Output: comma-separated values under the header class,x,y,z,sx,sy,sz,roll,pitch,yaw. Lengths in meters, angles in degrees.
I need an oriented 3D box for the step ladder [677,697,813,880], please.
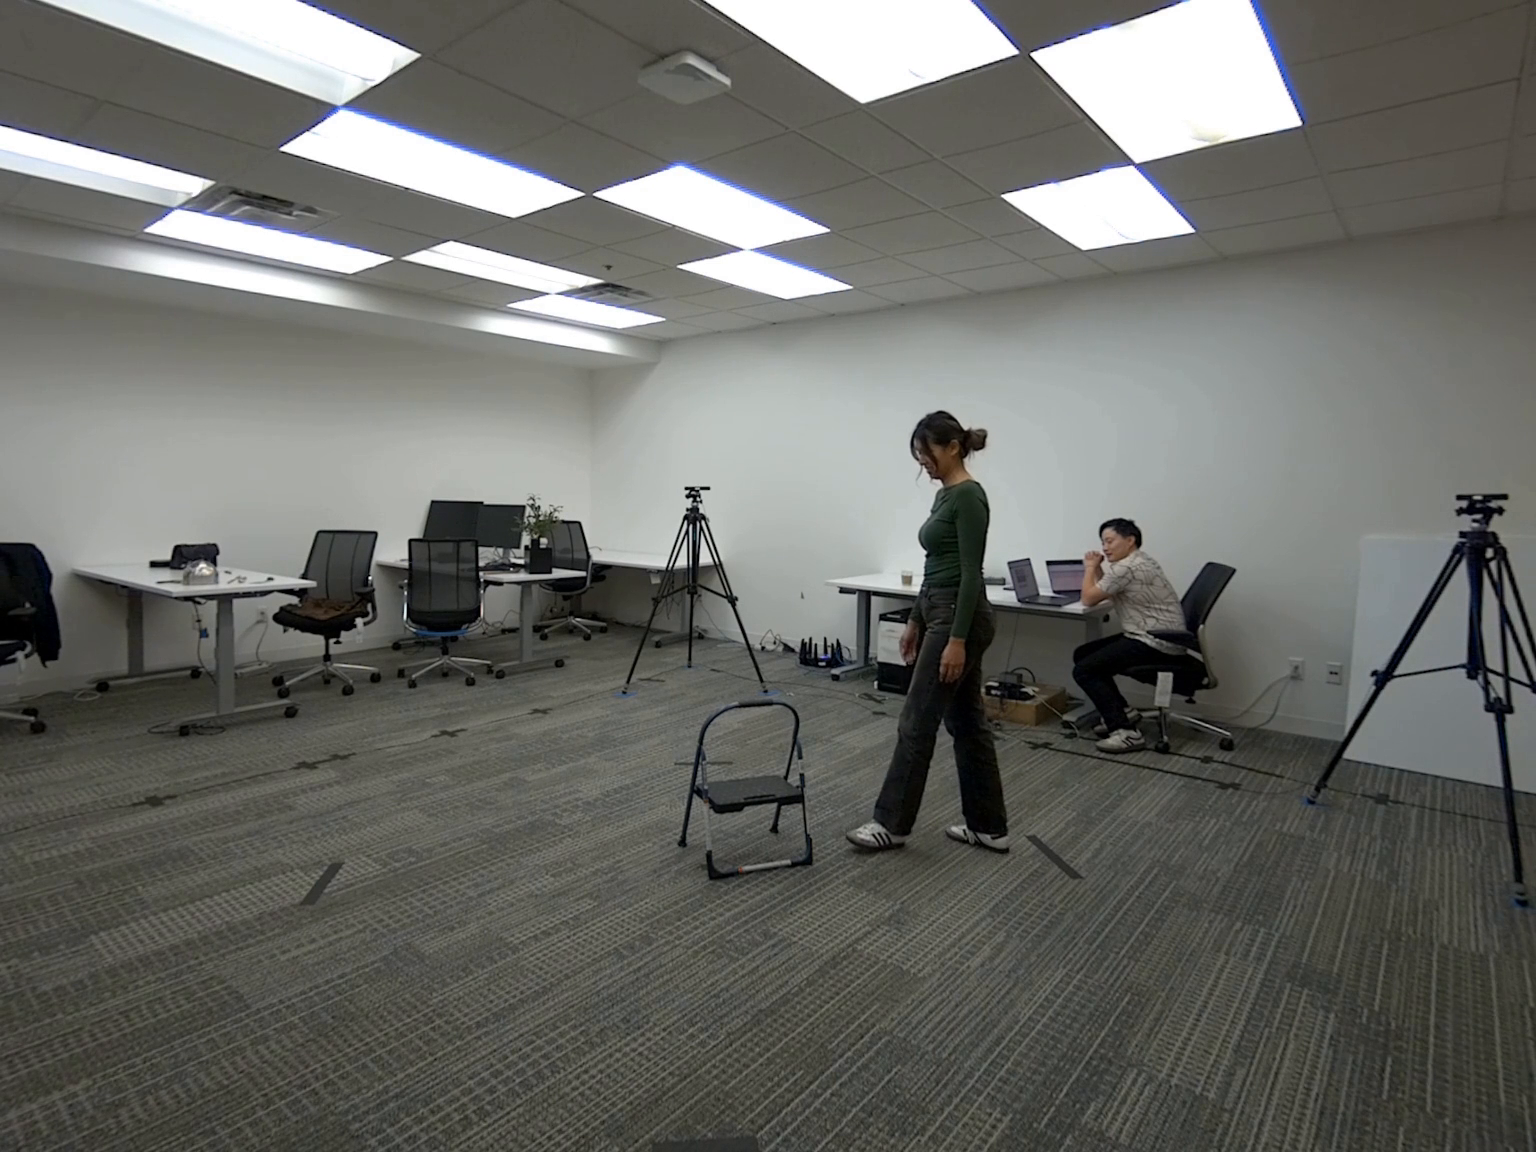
class,x,y,z,sx,sy,sz,roll,pitch,yaw
step ladder,-0.095,0.752,3.227,0.421,0.604,0.358,-1,4,-23
